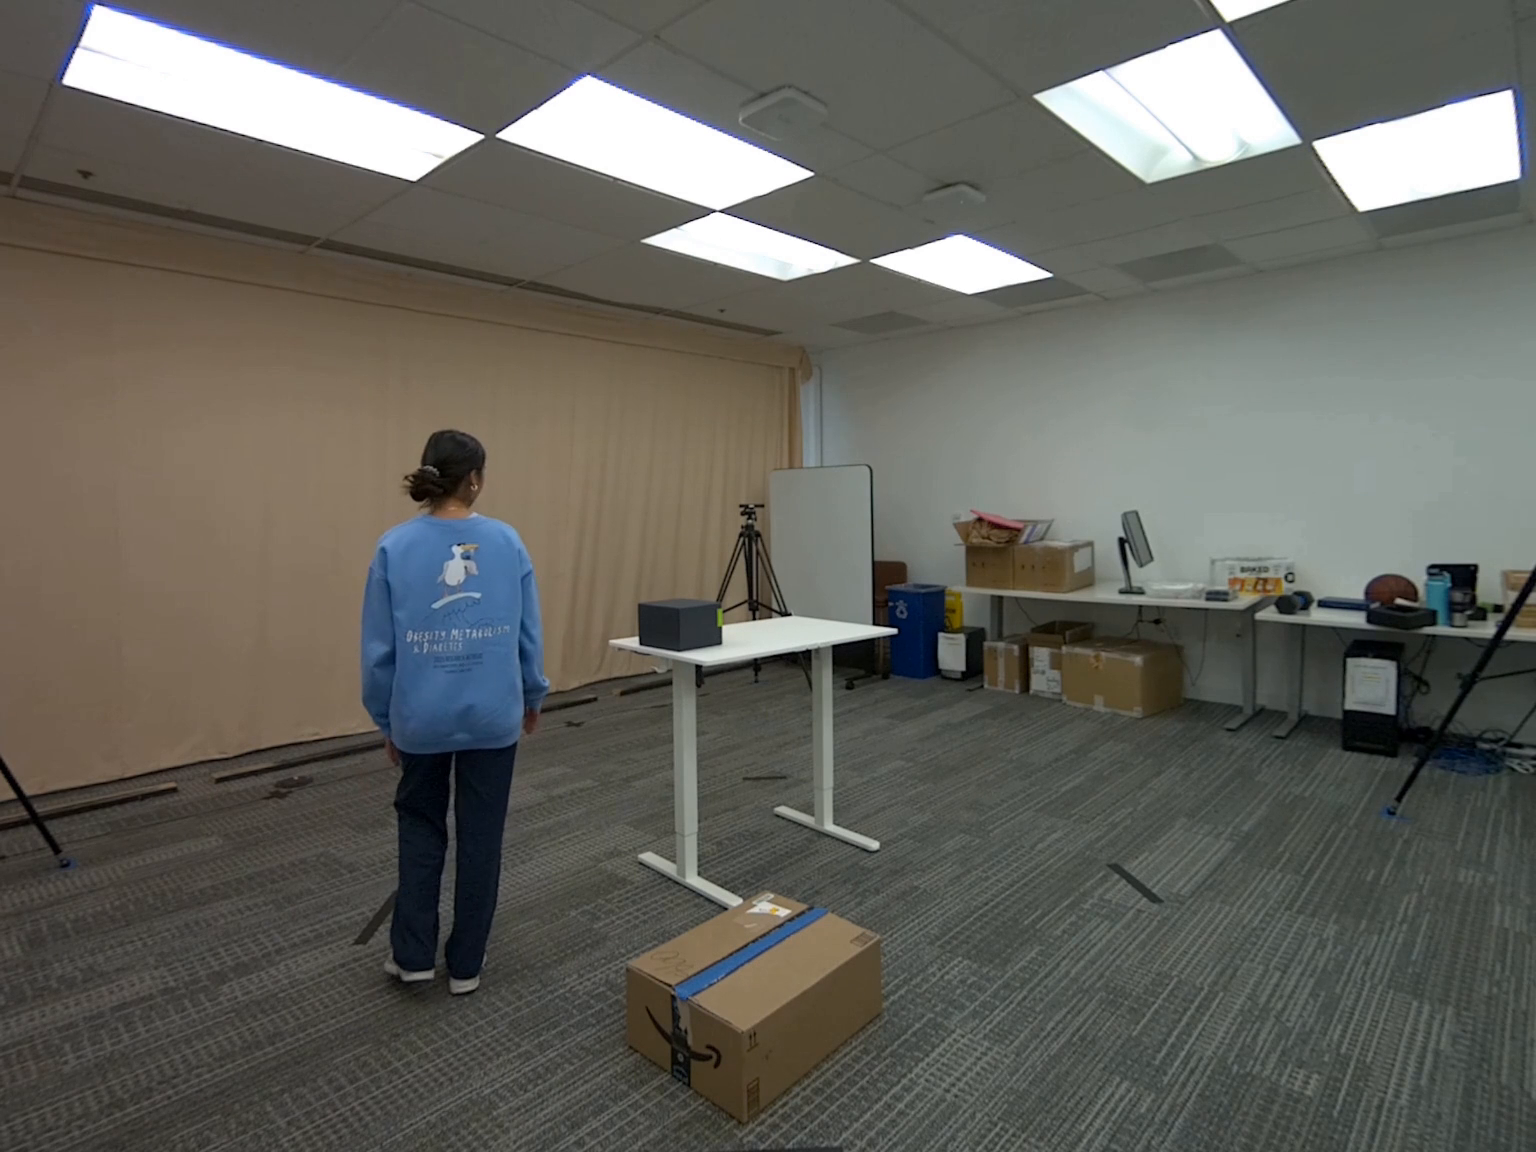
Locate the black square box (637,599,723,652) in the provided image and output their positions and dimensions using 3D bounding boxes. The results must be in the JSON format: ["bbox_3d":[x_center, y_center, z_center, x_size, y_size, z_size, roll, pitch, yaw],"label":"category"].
[{"bbox_3d":[-0.318,0.175,3.083,0.235,0.155,0.210,3,5,44],"label":"black square box"}]
